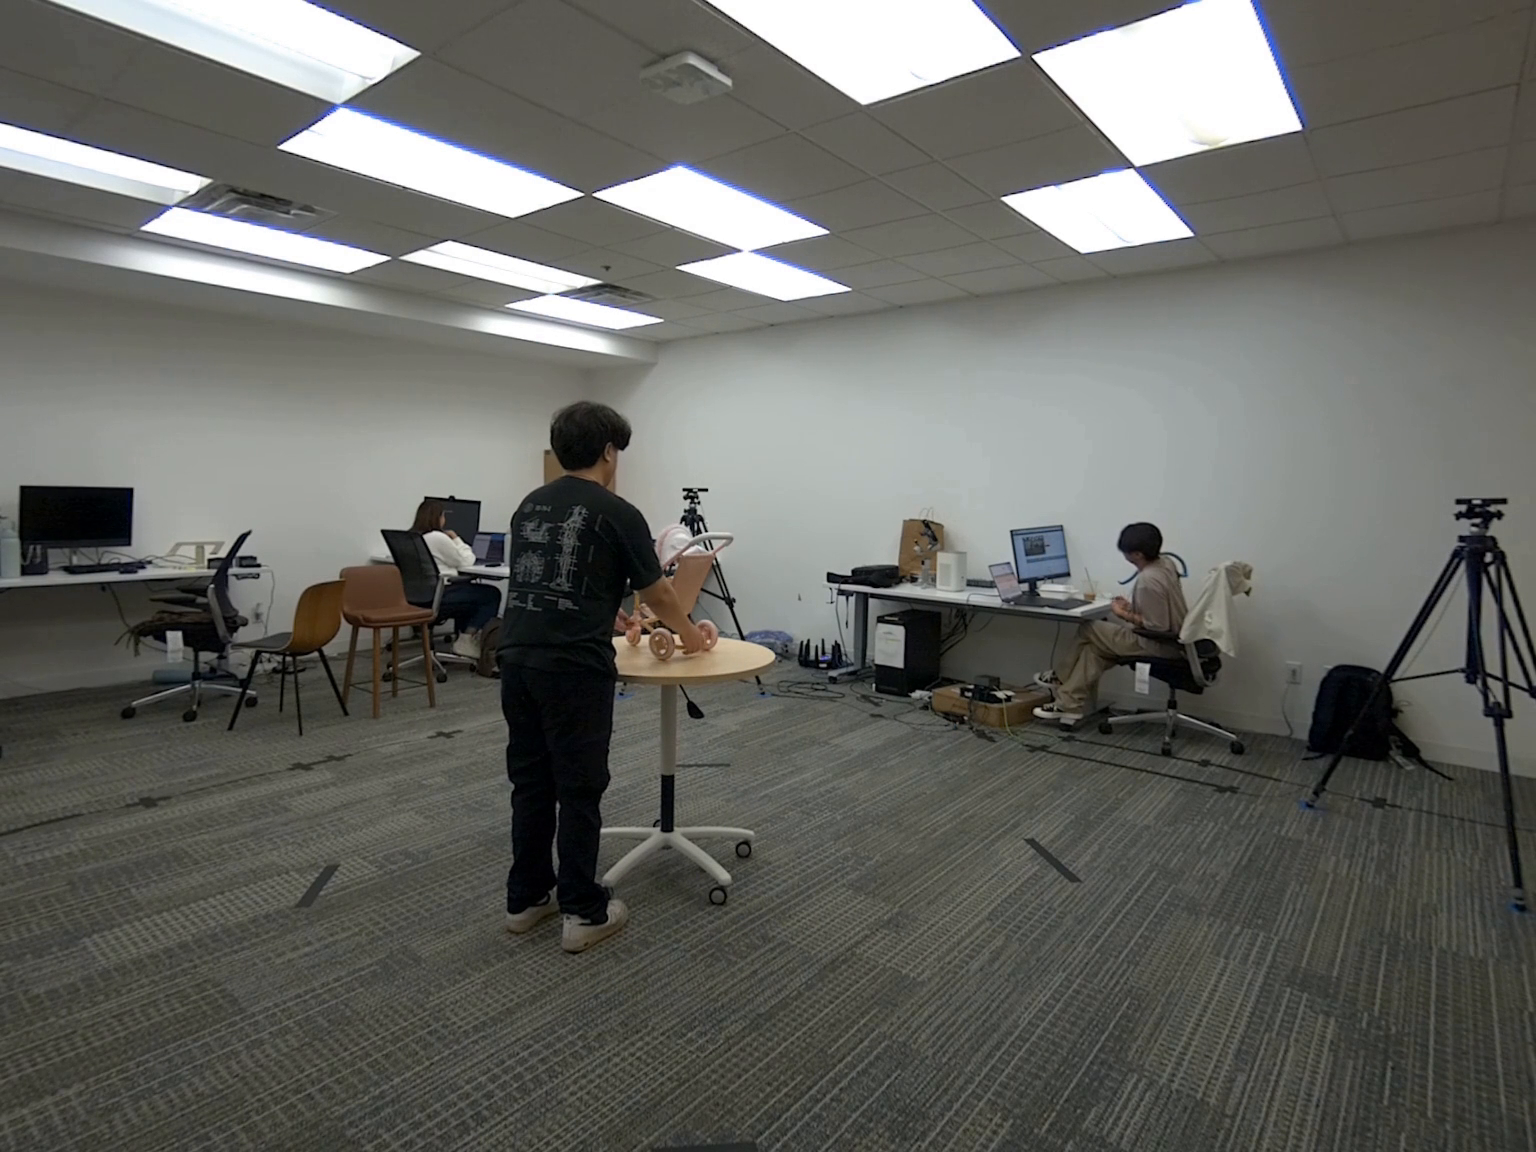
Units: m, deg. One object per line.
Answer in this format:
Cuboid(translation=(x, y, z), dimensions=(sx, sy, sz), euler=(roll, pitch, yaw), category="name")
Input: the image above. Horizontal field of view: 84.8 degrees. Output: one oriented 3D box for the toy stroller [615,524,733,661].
Cuboid(translation=(-0.360, 0.049, 3.087), dimensions=(0.355, 0.530, 0.273), euler=(22, 15, 37), category="toy stroller")
